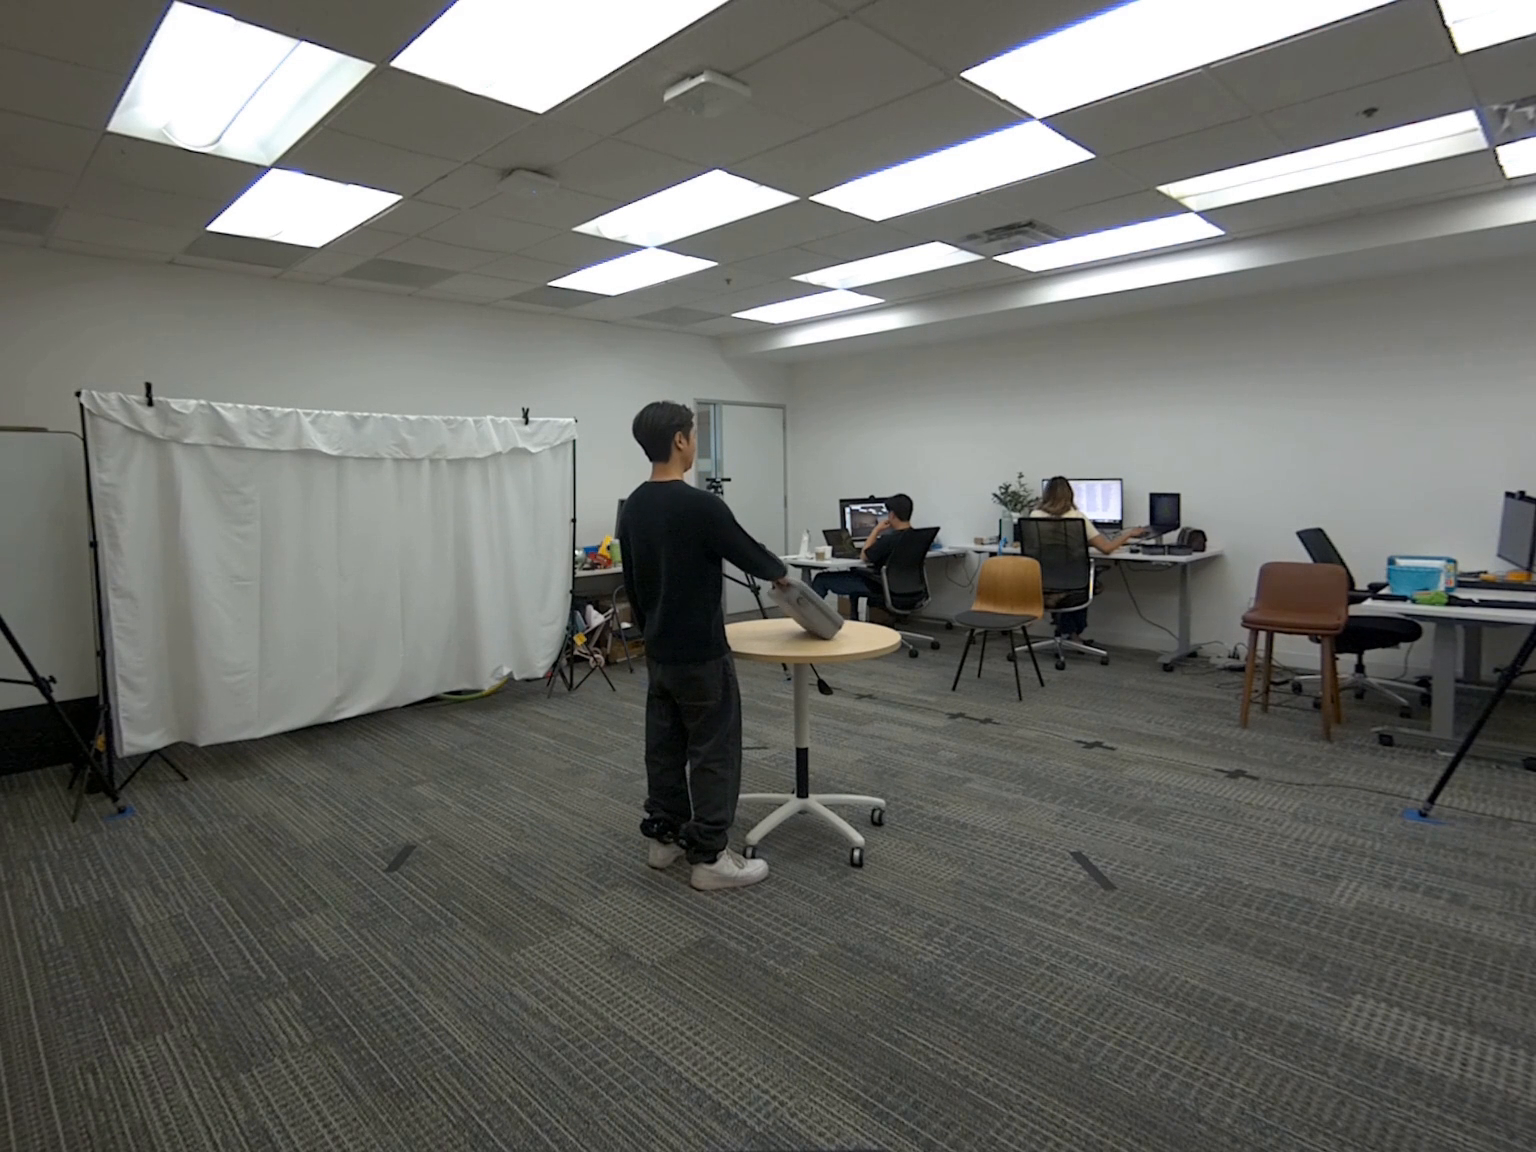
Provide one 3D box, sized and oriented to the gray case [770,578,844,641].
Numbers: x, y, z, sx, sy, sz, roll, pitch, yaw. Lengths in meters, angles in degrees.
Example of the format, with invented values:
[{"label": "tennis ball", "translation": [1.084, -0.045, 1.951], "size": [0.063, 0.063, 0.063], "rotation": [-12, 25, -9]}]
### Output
[{"label": "gray case", "translation": [0.141, 0.118, 3.288], "size": [0.256, 0.104, 0.262], "rotation": [43, -8, -15]}]
